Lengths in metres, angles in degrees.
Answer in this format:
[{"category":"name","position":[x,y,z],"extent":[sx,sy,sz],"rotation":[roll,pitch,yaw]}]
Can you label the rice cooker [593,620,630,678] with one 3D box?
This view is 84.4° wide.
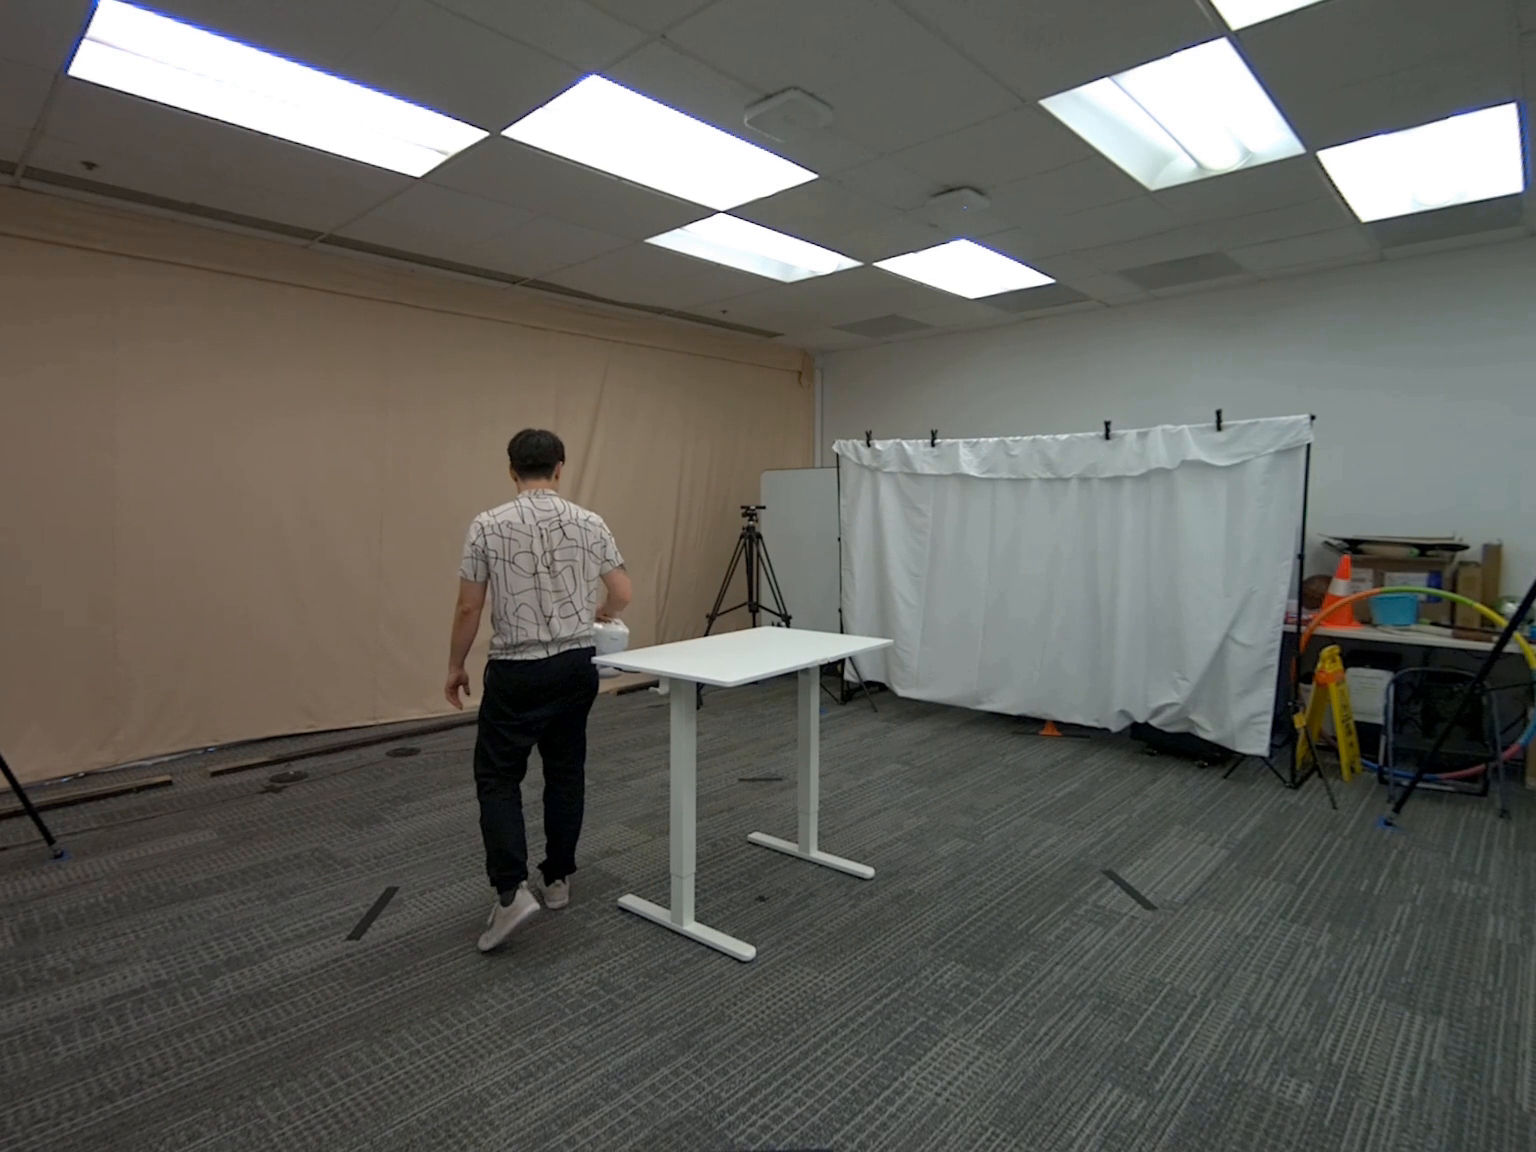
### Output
[{"category":"rice cooker","position":[-0.649,0.265,3.226],"extent":[0.225,0.232,0.214],"rotation":[8,2,15]}]
